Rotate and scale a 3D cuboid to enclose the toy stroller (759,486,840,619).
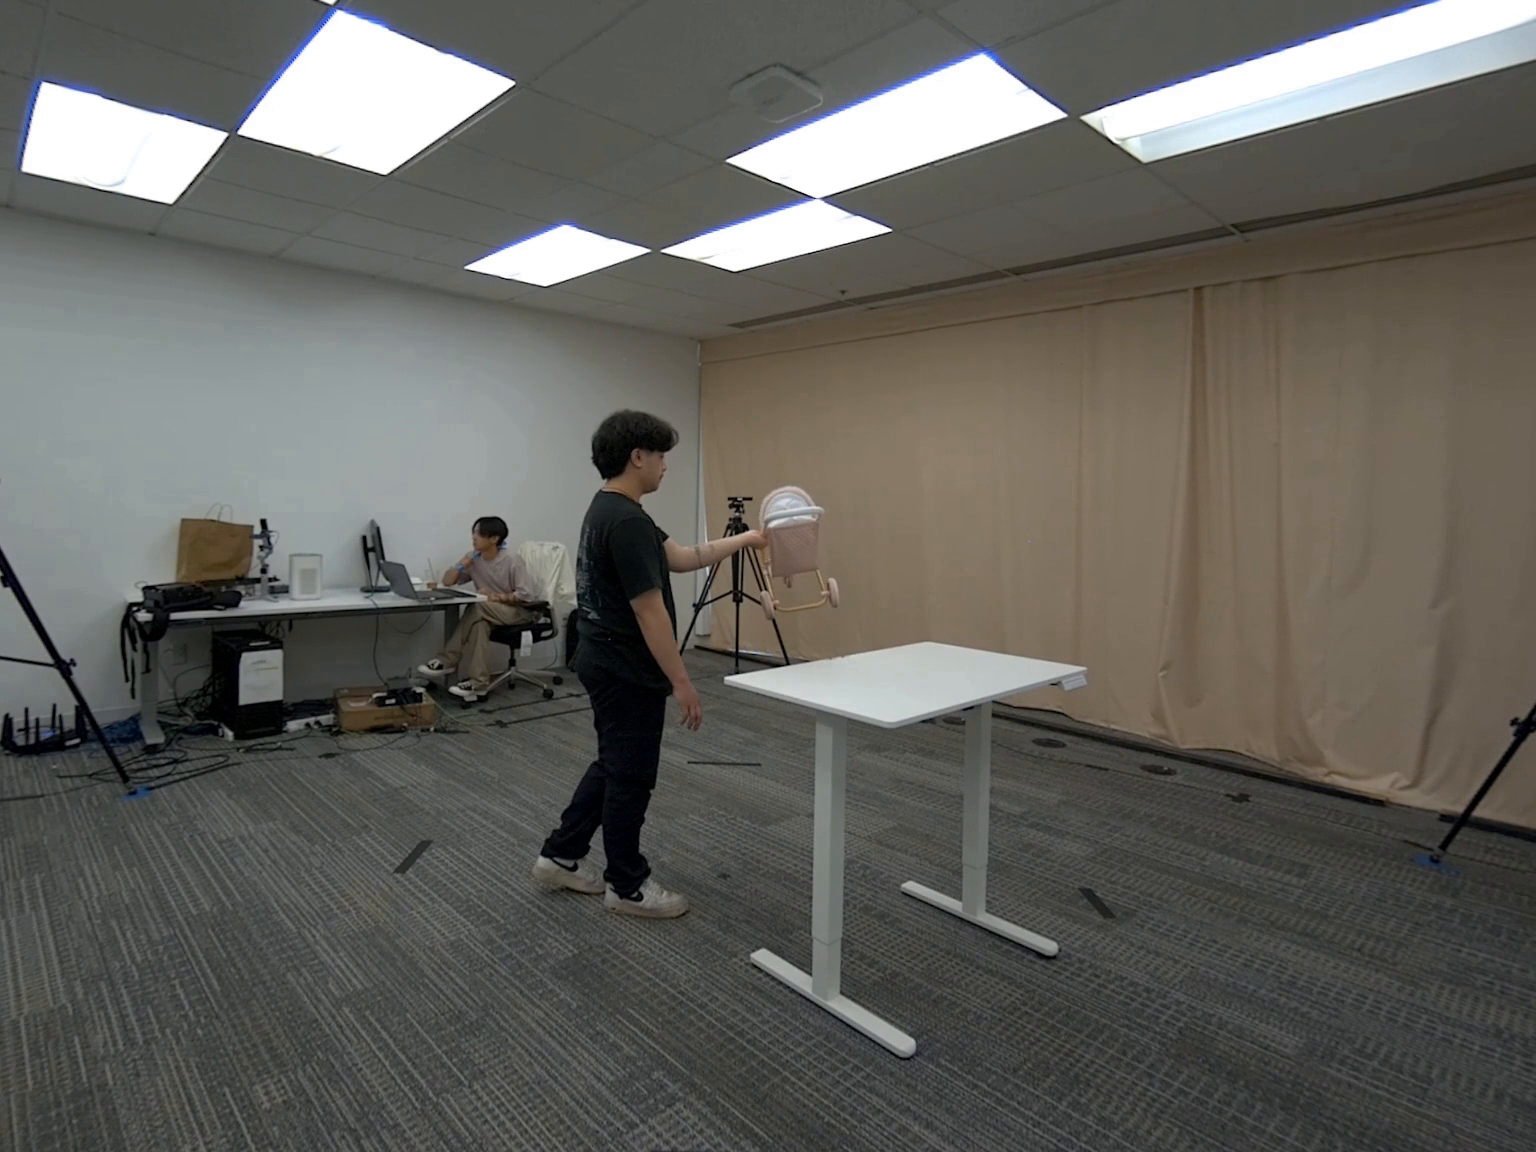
[{"bbox_3d":[0.080,-0.098,3.084,0.281,0.522,0.349,-8,35,-2],"label":"toy stroller"}]
